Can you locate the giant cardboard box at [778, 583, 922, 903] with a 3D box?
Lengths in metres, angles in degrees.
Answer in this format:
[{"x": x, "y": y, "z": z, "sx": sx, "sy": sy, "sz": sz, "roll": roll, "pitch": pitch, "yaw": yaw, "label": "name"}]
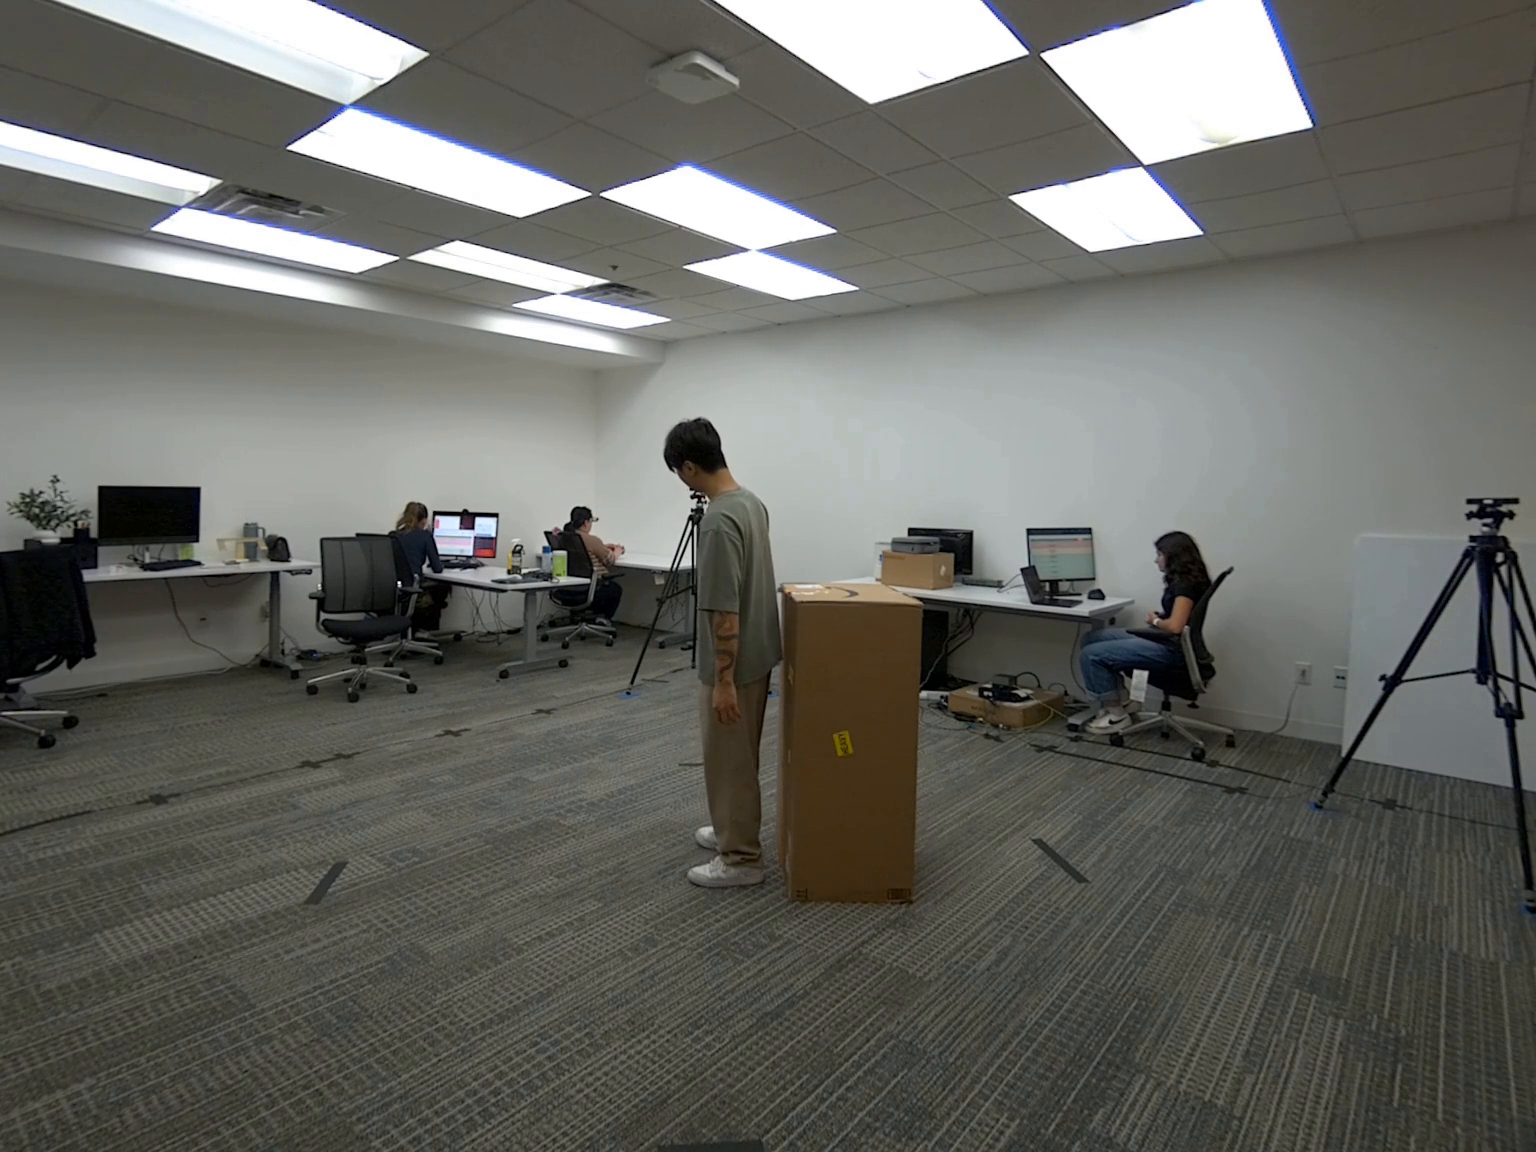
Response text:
[{"x": 0.263, "y": 0.565, "z": 3.135, "sx": 0.425, "sy": 1.022, "sz": 0.582, "roll": 0, "pitch": 4, "yaw": -4, "label": "giant cardboard box"}]
